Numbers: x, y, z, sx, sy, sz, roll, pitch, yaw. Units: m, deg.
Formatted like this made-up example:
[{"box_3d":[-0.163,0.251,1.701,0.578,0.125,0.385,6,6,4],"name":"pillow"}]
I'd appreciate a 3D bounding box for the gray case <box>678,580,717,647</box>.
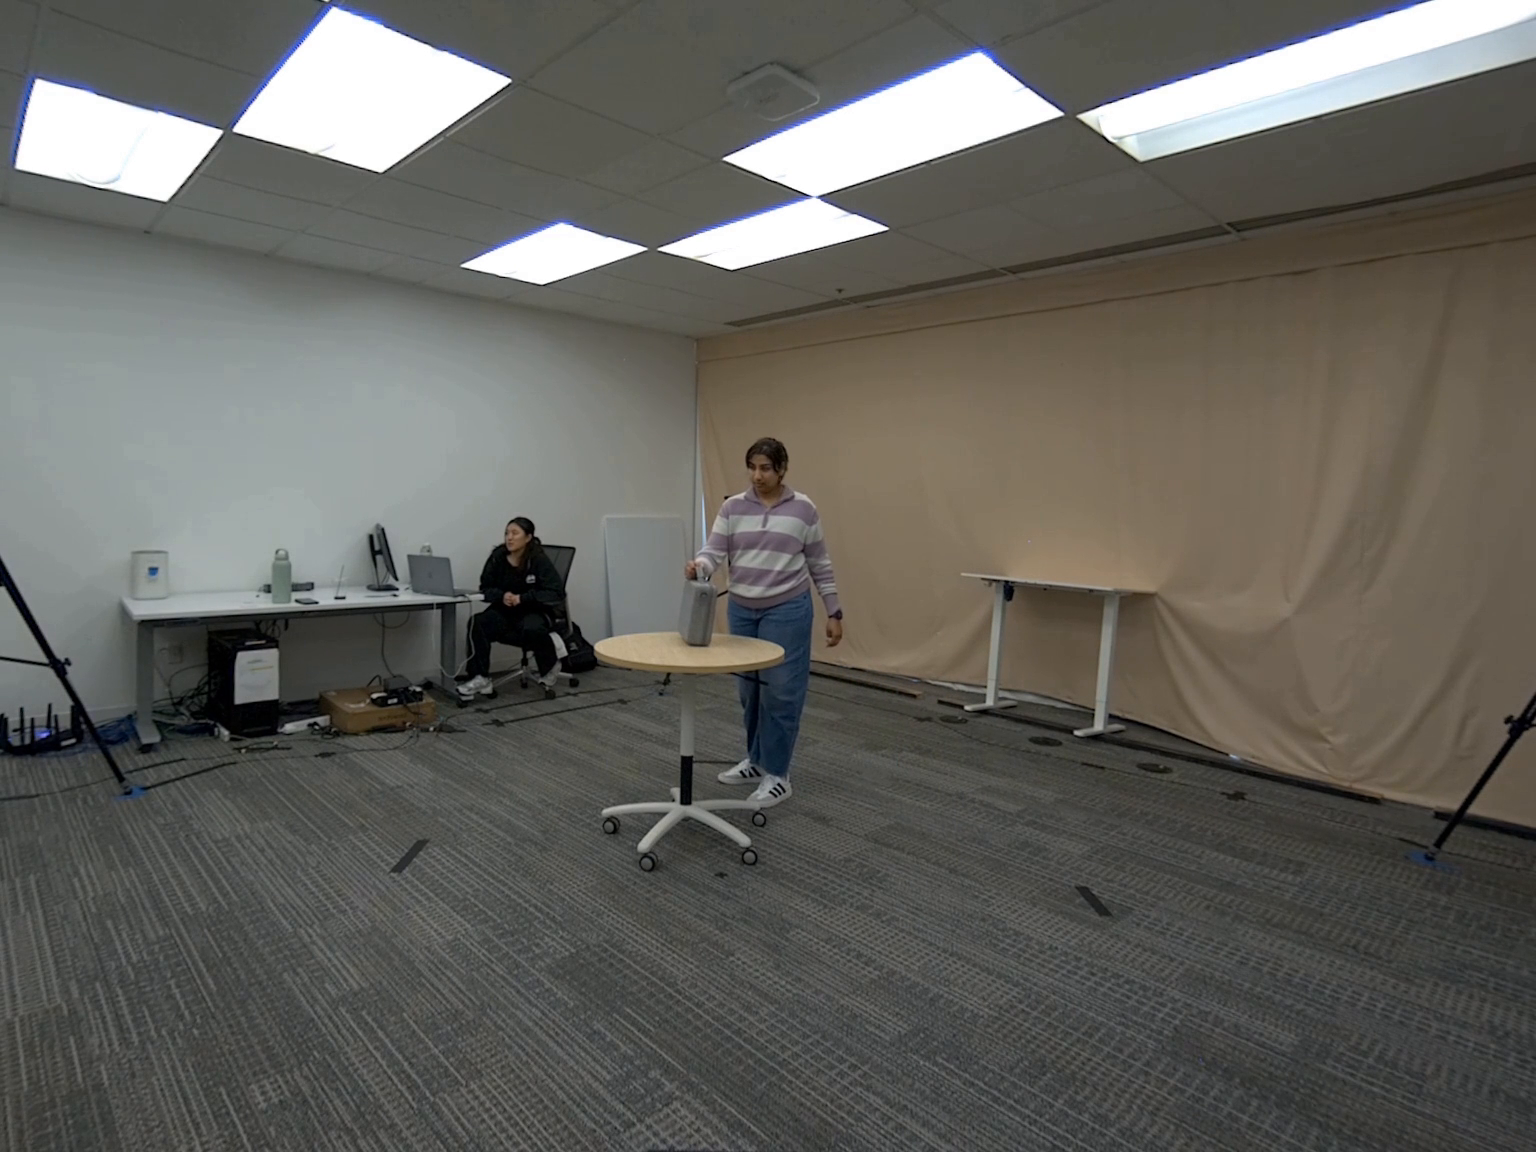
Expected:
[{"box_3d":[-0.305,0.142,3.523,0.103,0.260,0.260,8,3,-14],"name":"gray case"}]
